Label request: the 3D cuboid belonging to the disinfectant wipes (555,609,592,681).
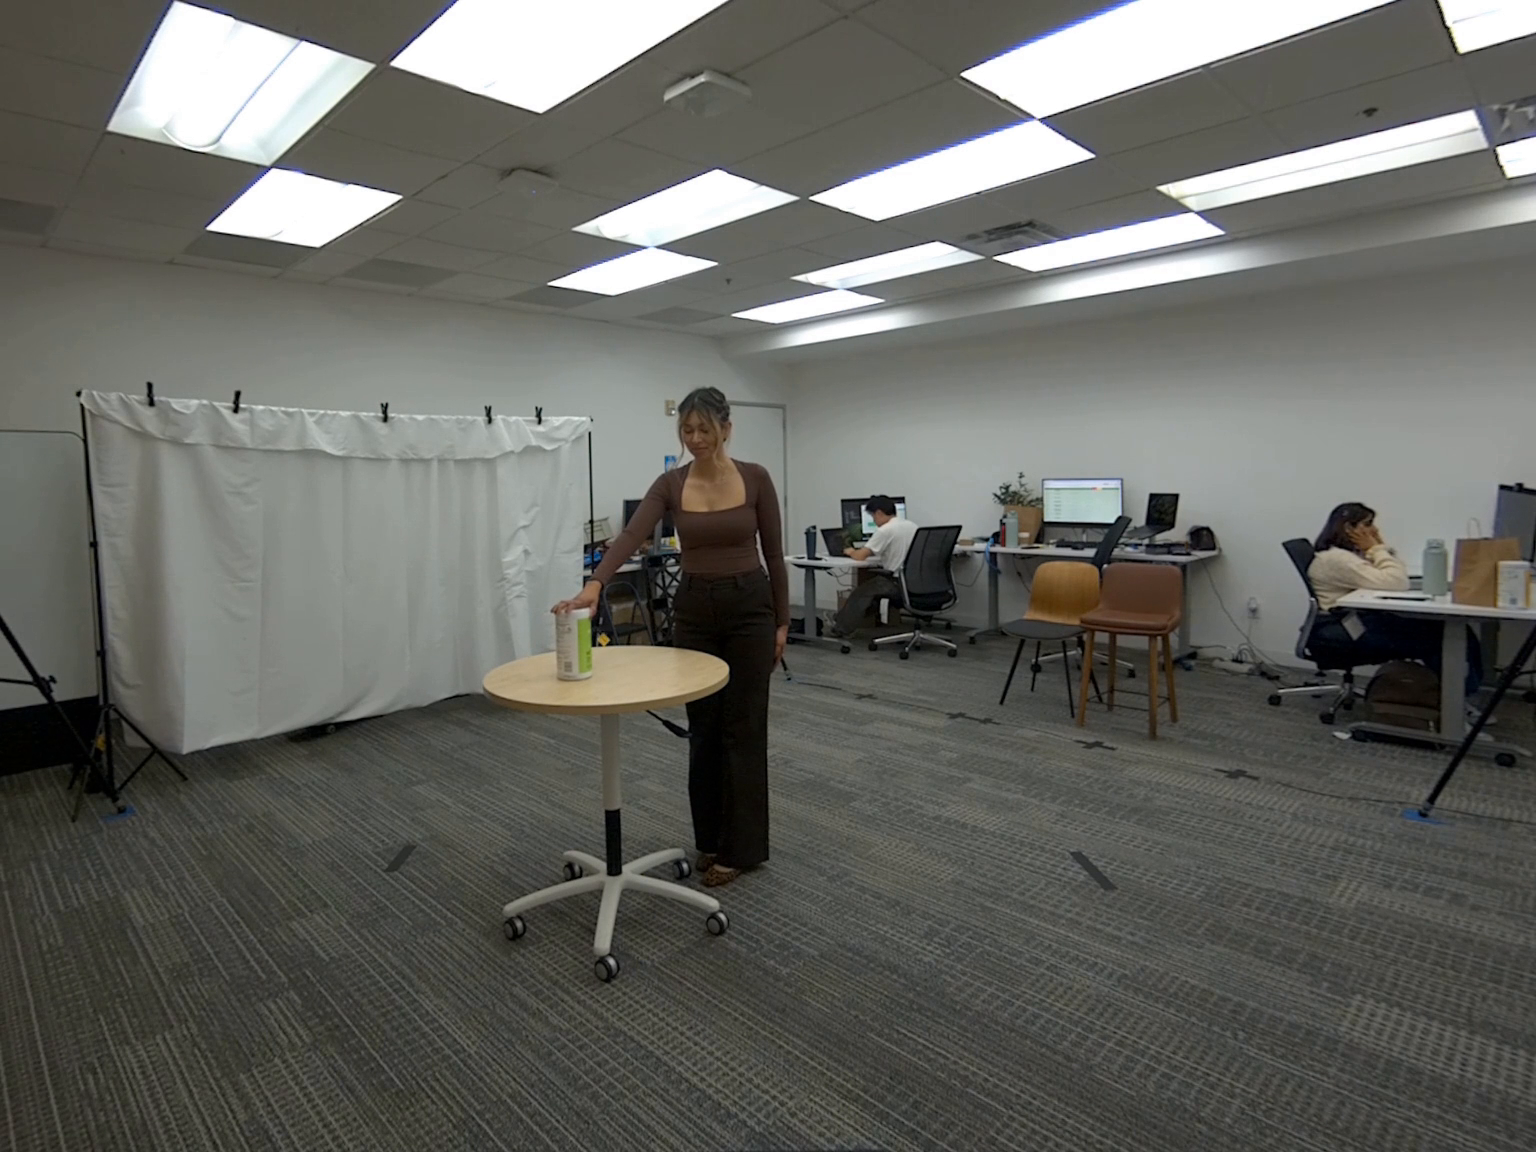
[{"bbox_3d":[-0.595,0.206,2.625,0.118,0.217,0.118,-1,2,-2],"label":"disinfectant wipes"}]
